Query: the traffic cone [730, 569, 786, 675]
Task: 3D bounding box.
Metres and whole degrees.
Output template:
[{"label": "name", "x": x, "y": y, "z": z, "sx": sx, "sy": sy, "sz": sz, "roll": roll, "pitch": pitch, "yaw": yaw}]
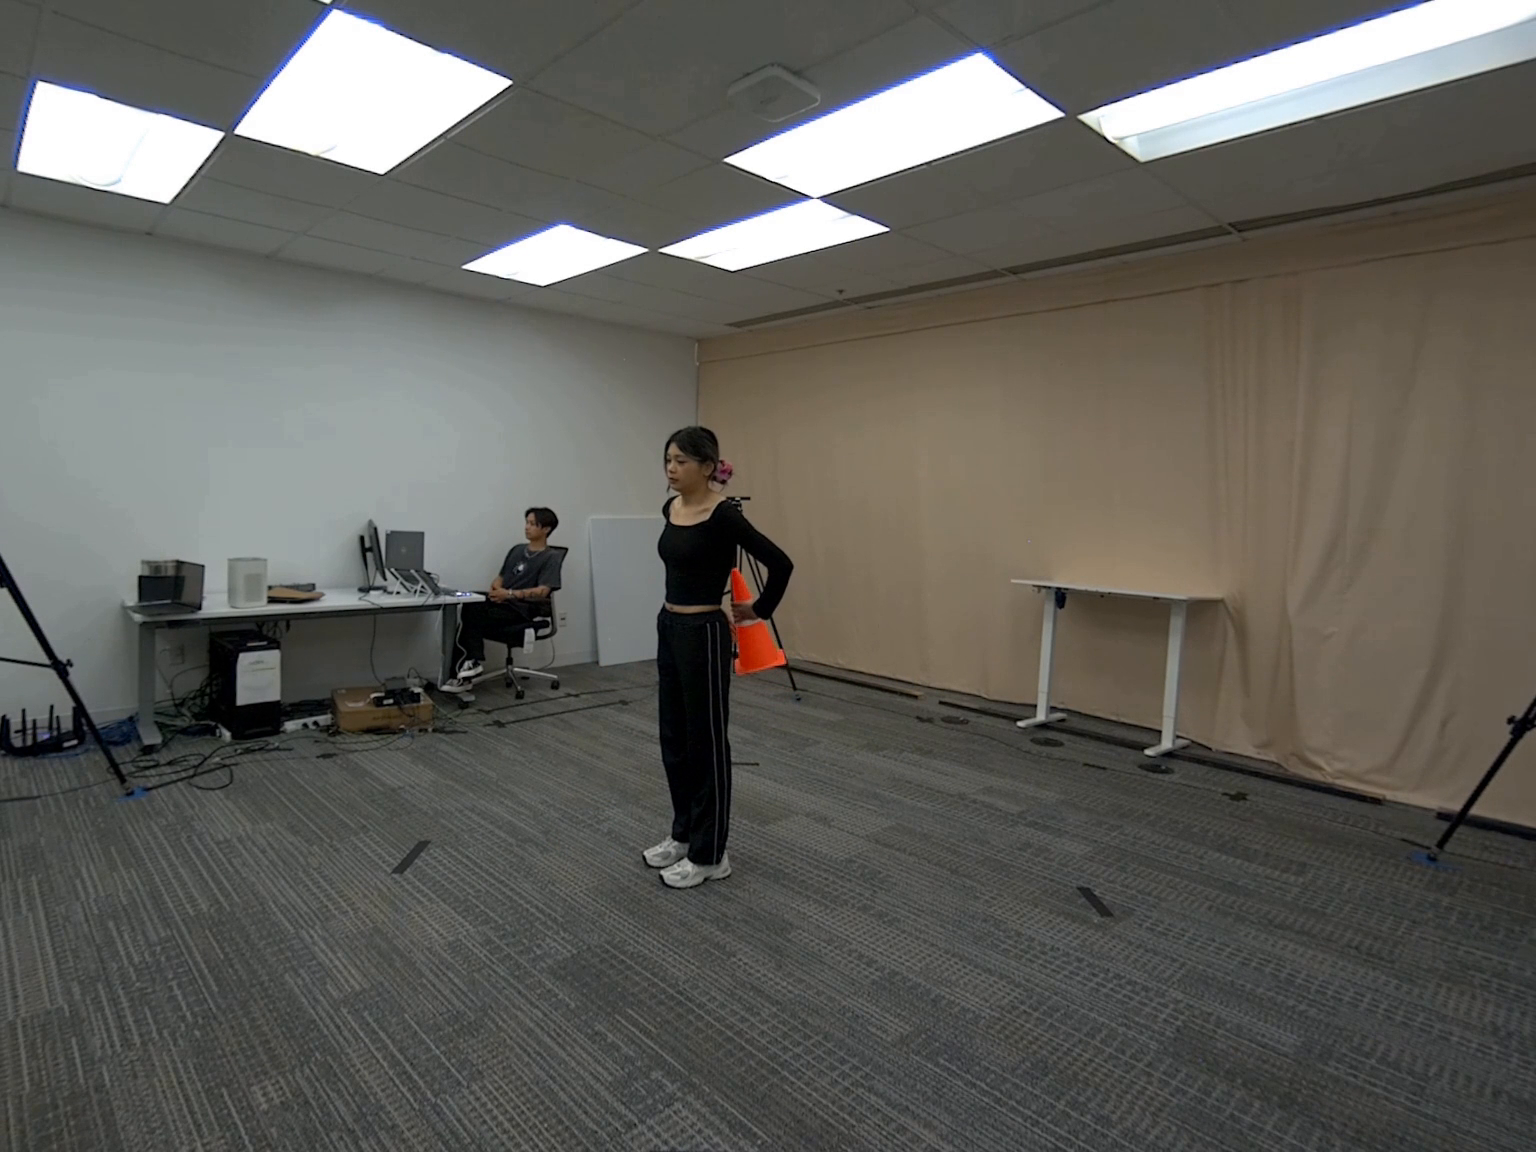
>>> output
[{"label": "traffic cone", "x": -0.087, "y": 0.154, "z": 3.248, "sx": 0.204, "sy": 0.381, "sz": 0.205, "roll": -11, "pitch": 7, "yaw": 9}]
